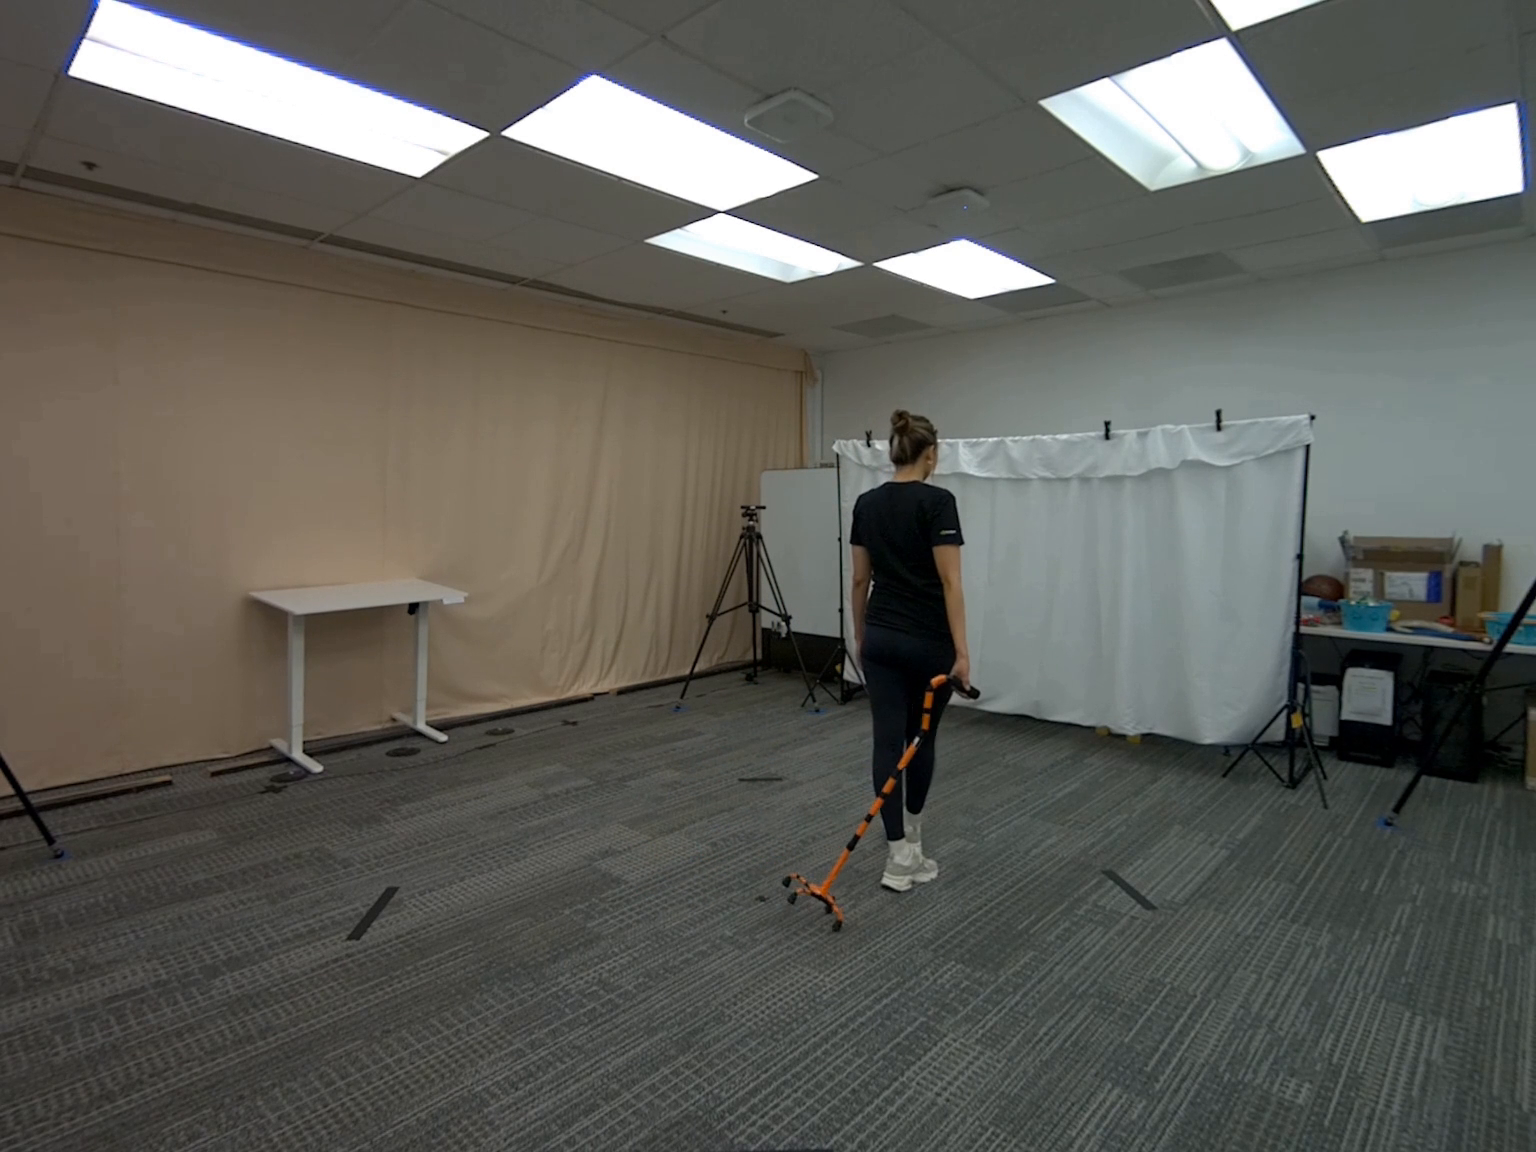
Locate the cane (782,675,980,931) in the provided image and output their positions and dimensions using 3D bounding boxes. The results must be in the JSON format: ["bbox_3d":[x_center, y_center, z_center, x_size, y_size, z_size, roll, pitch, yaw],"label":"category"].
[{"bbox_3d":[0.384,0.725,2.802,0.205,0.908,0.152,33,2,-5],"label":"cane"}]
